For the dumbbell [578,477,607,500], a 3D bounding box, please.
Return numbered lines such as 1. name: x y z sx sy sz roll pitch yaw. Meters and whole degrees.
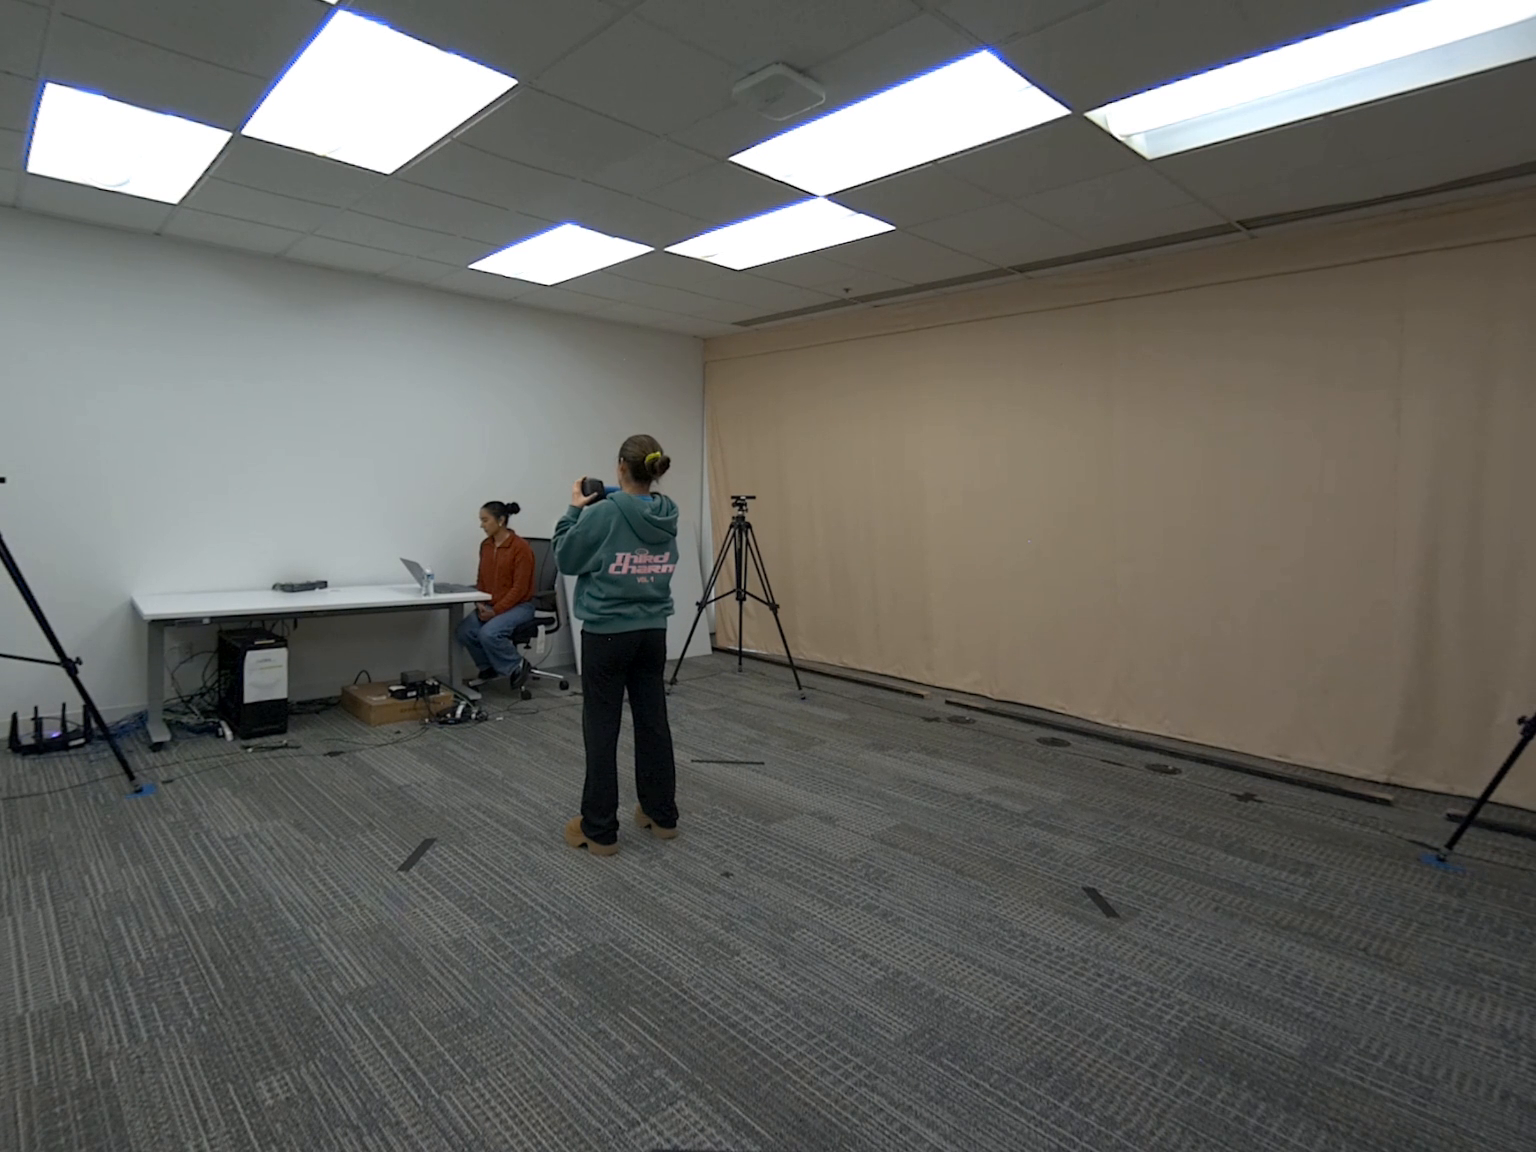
1. dumbbell: -0.636 -0.336 3.433 0.287 0.124 0.110 -1 -18 -40
